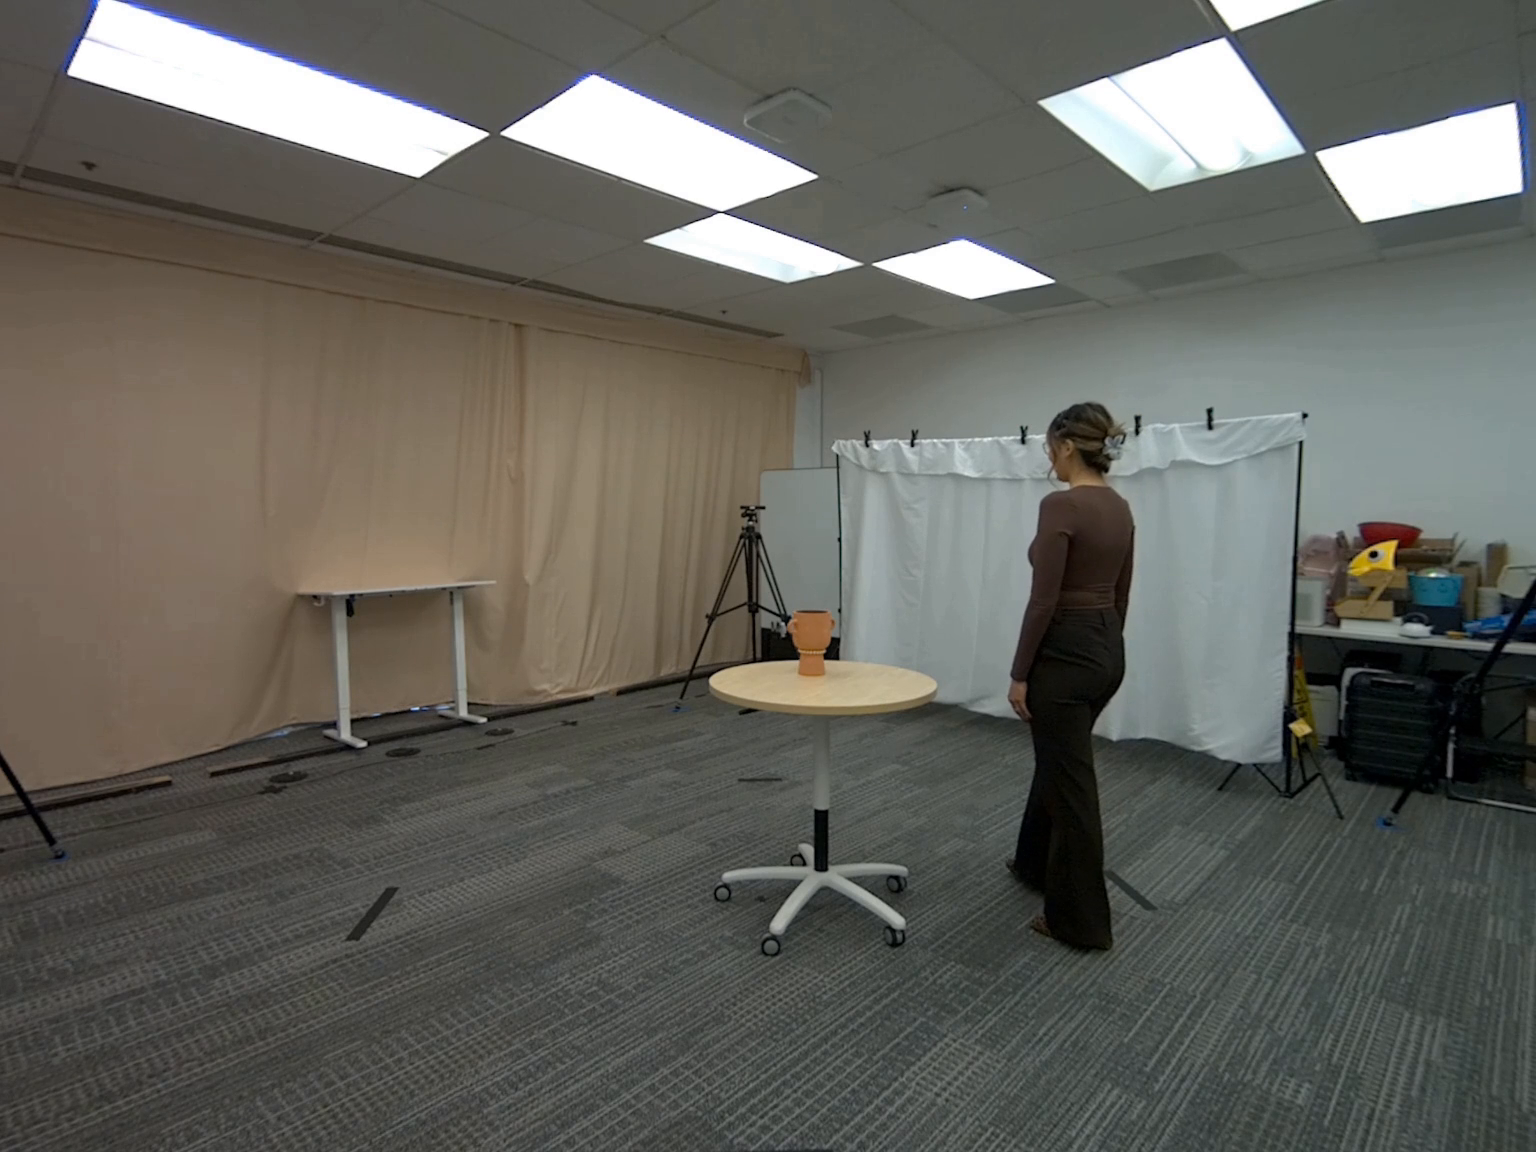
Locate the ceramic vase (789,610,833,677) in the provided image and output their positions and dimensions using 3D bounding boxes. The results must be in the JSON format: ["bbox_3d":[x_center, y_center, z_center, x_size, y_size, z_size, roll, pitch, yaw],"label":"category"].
[{"bbox_3d":[0.162,0.239,2.984,0.161,0.219,0.133,2,2,13],"label":"ceramic vase"}]
